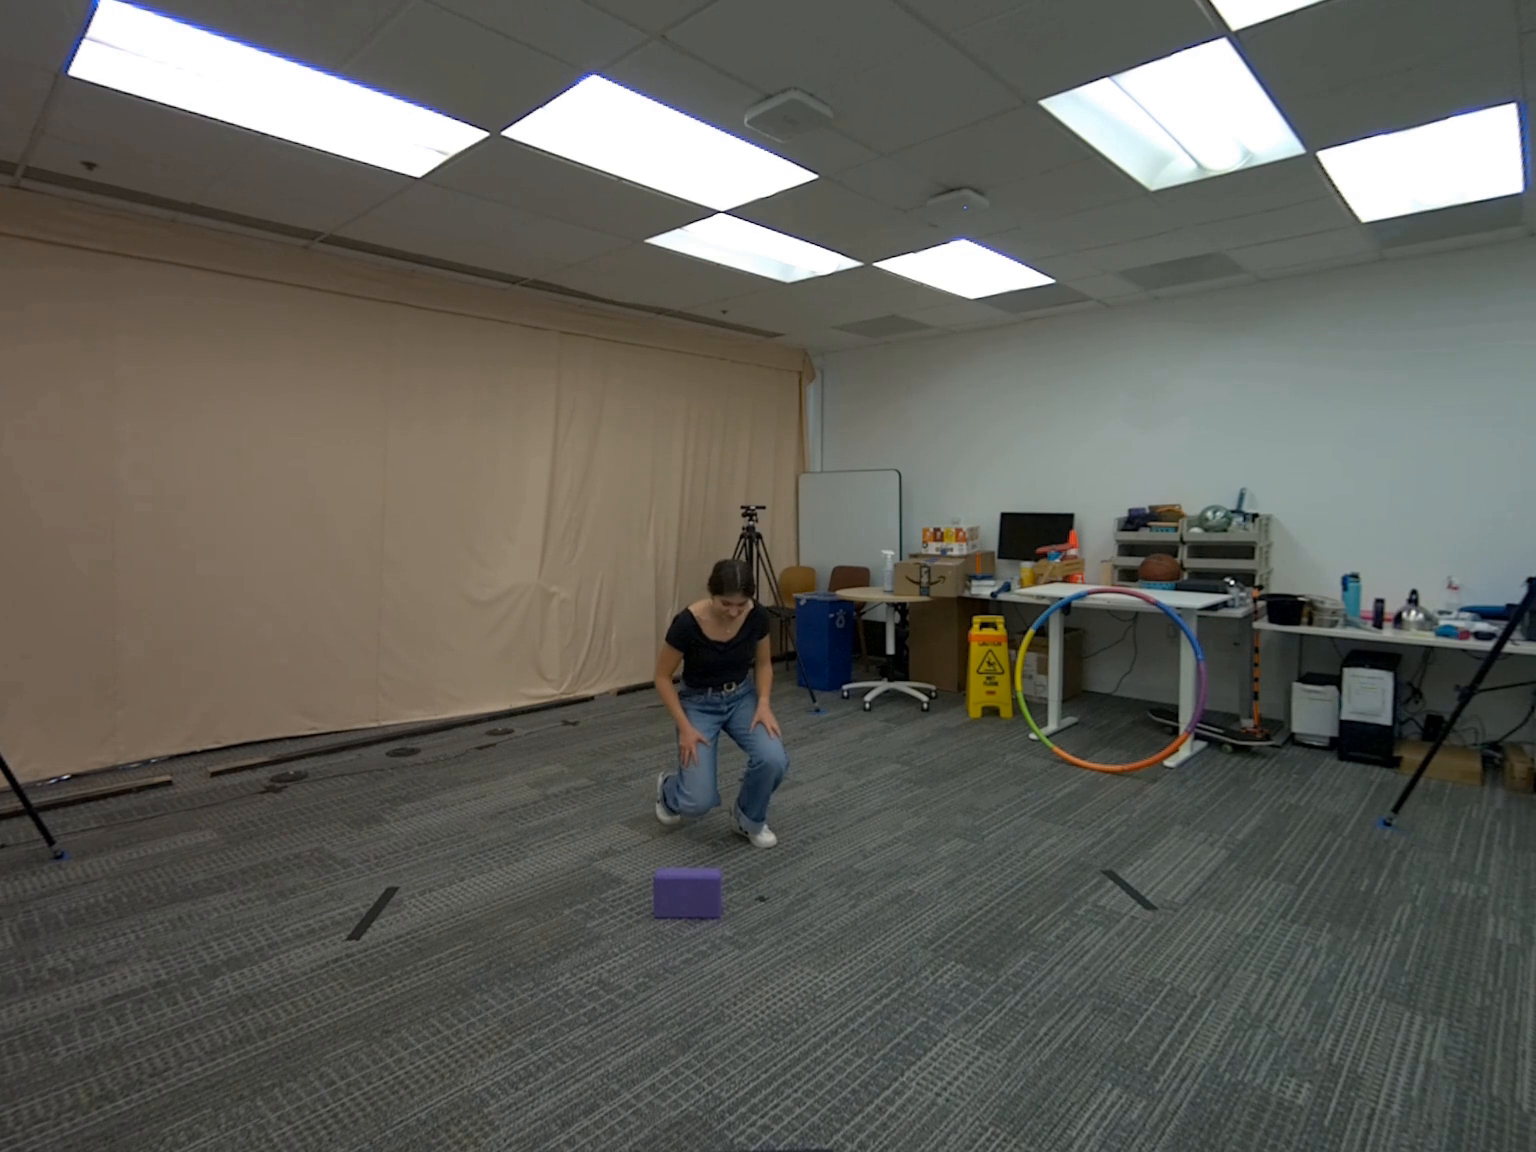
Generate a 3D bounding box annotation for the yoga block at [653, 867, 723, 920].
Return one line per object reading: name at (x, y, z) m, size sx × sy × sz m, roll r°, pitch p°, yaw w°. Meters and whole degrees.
yoga block at (-0.274, 1.079, 2.869) m, size 0.230 × 0.148 × 0.076 m, roll 0°, pitch 6°, yaw 2°
